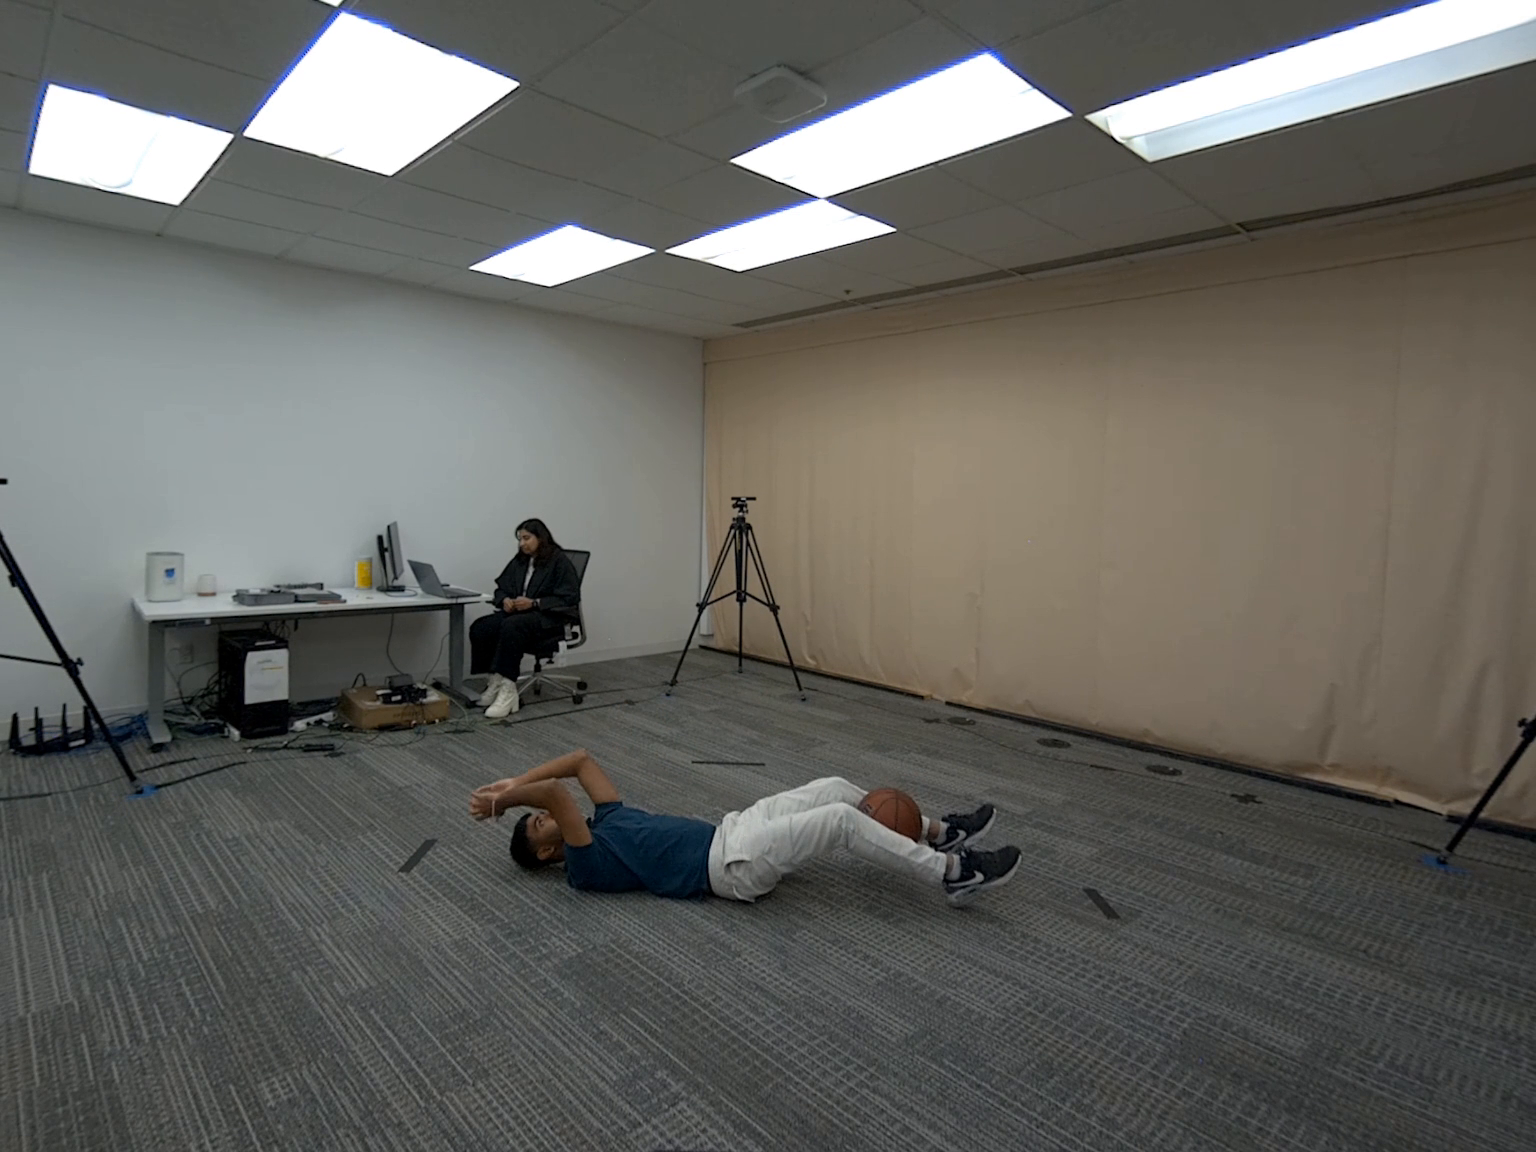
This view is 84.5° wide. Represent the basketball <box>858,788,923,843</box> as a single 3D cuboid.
[{"bbox_3d":[0.428,0.870,3.004,0.236,0.235,0.237,1,4,-1],"label":"basketball"}]
